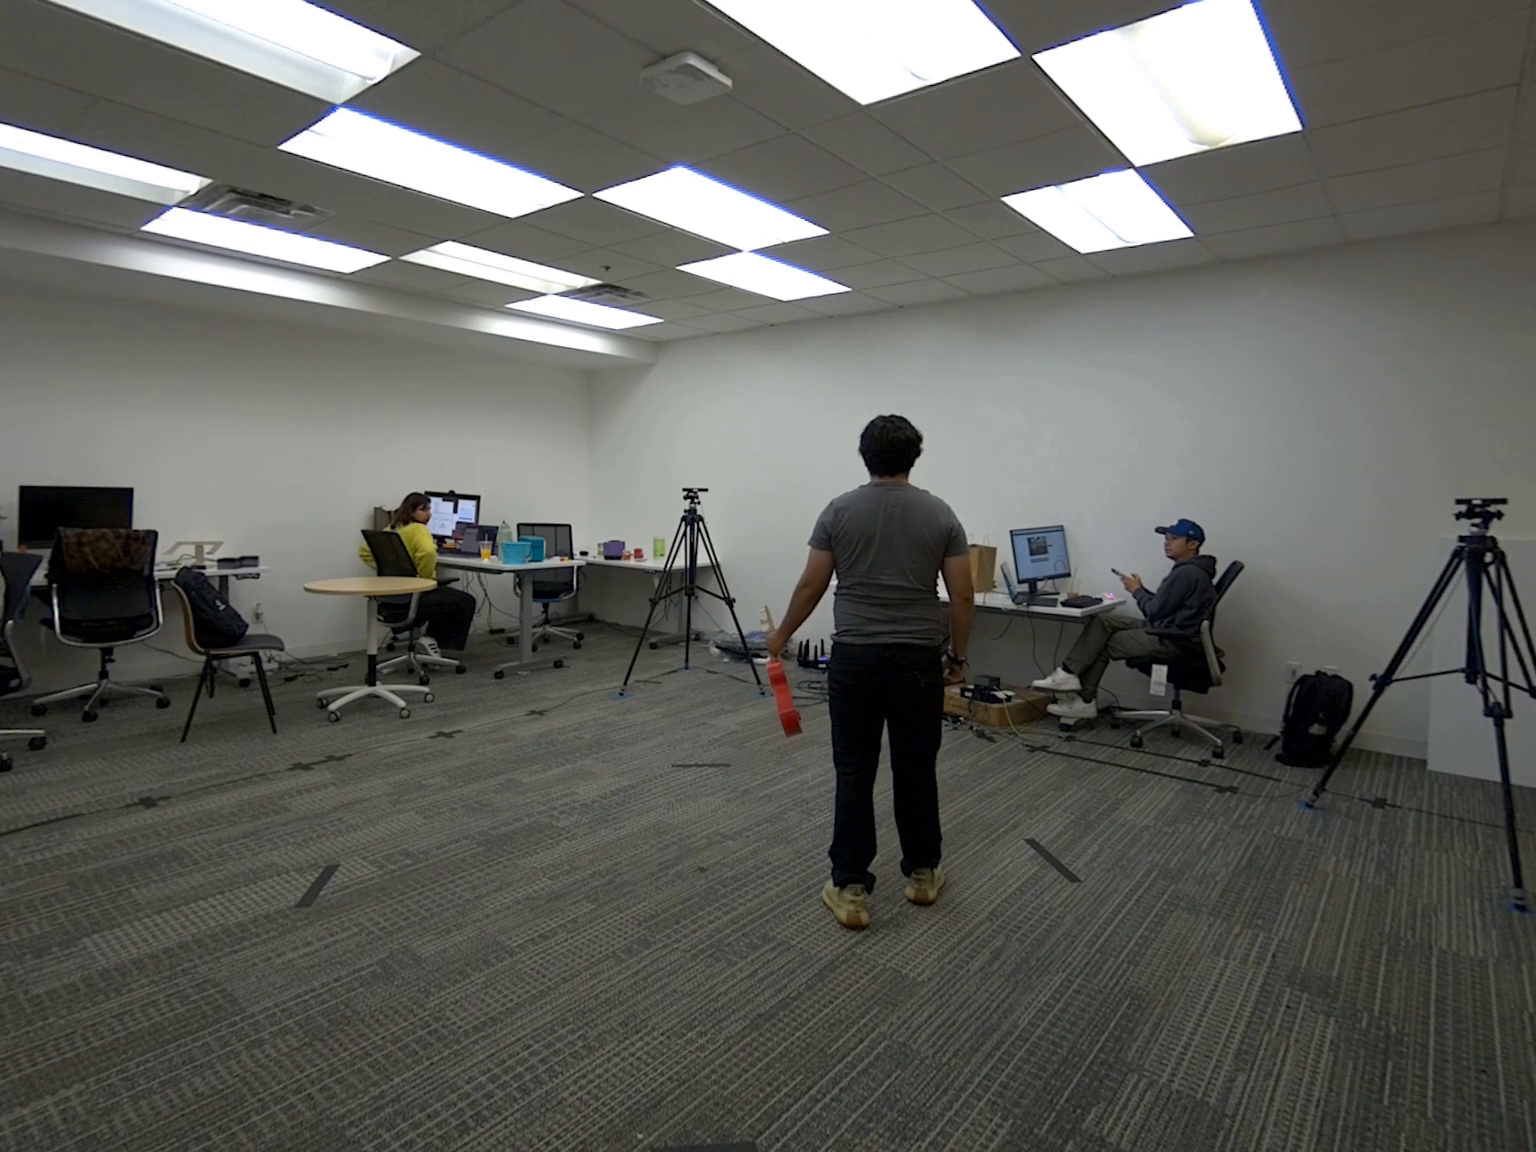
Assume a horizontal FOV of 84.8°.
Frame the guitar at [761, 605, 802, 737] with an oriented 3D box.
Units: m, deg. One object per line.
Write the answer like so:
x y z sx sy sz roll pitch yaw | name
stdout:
0.032 0.348 3.133 0.070 0.515 0.187 -15 -33 -3 | guitar
